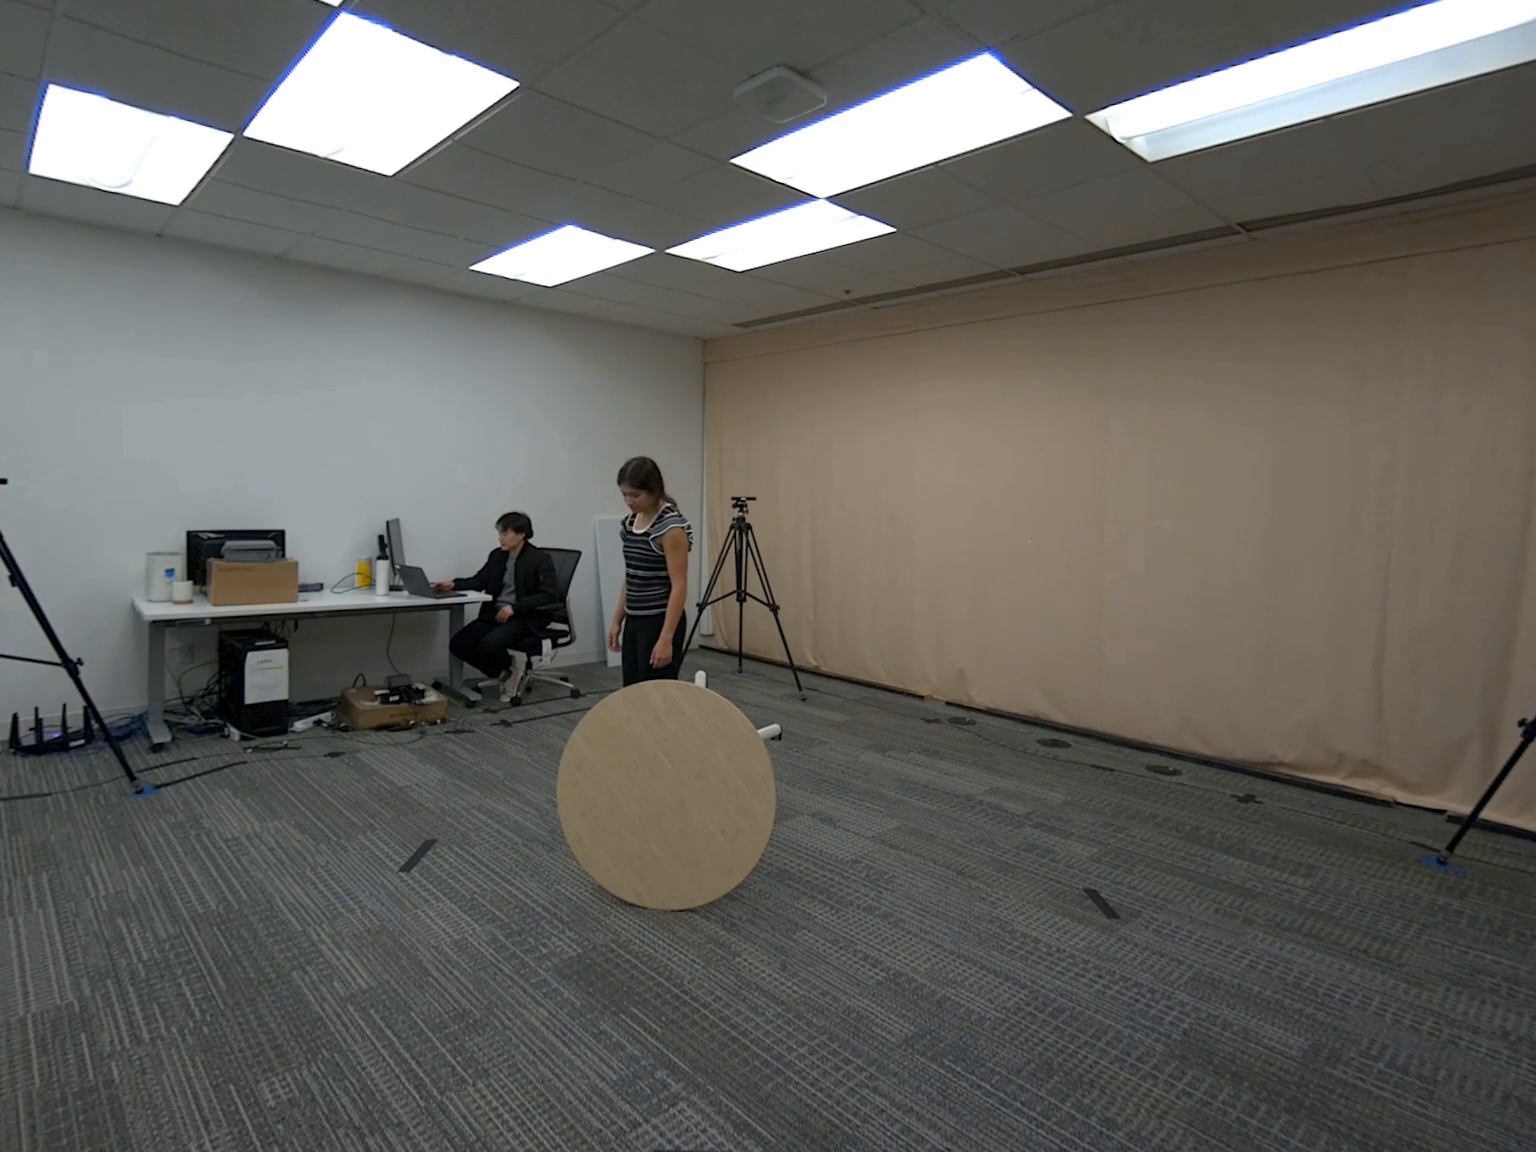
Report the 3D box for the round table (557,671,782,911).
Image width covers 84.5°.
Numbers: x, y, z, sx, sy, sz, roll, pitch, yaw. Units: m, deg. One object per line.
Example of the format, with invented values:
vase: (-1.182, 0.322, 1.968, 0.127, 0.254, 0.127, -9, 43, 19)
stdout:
round table: (-0.322, 0.750, 3.254, 0.790, 0.787, 0.779, 2, -2, 8)
